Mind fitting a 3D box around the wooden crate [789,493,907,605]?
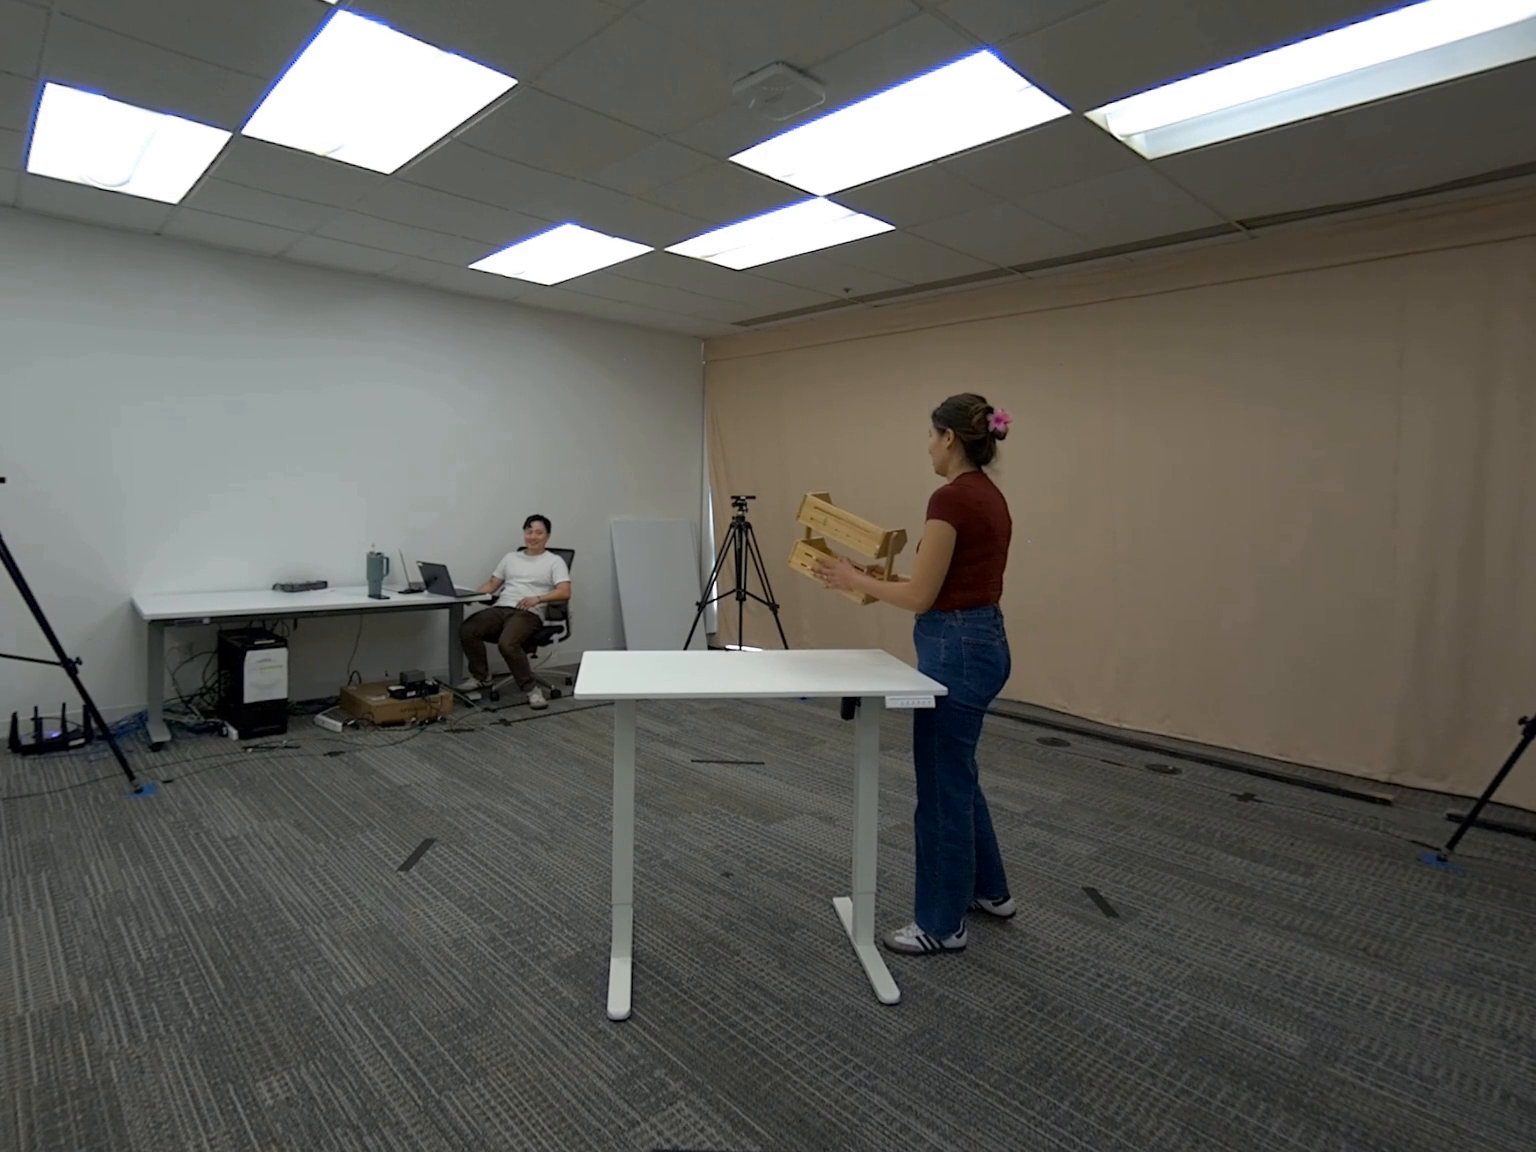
[{"bbox_3d":[0.272,-0.098,2.766,0.333,0.271,0.296,28,20,28],"label":"wooden crate"}]
